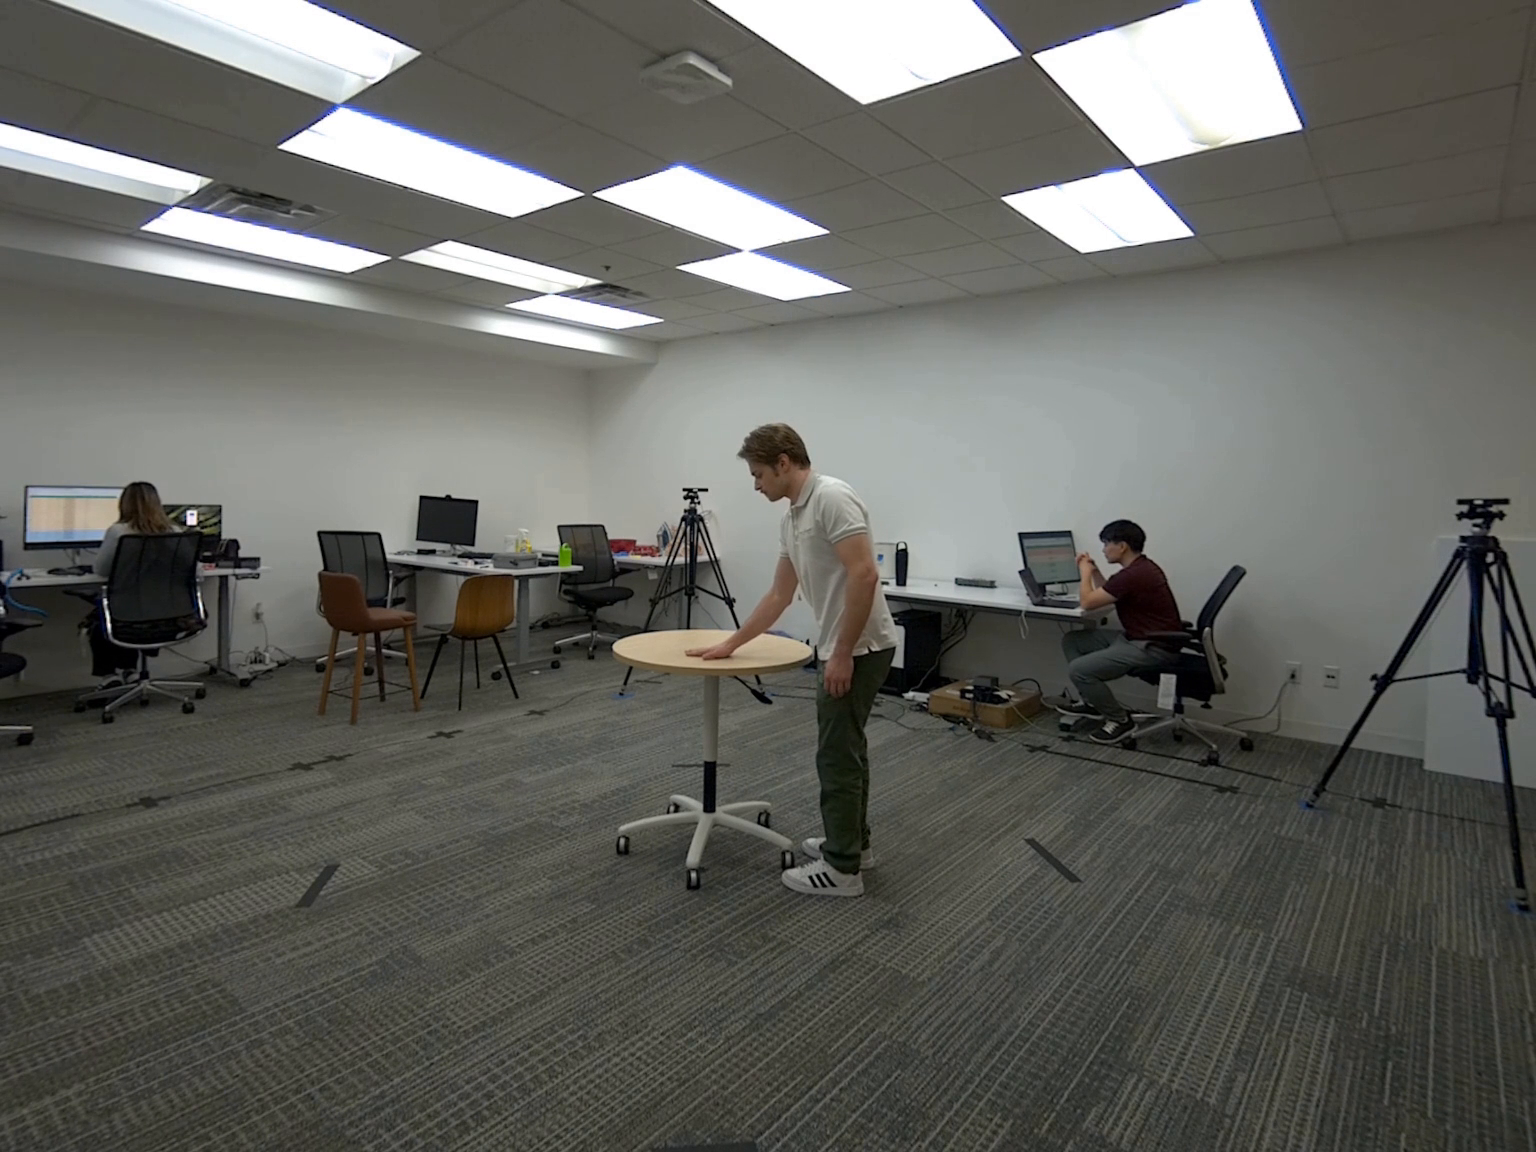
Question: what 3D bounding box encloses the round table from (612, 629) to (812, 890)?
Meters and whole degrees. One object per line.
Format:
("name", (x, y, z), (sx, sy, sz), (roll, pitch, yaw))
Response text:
("round table", (-0.240, 0.657, 3.304), (0.784, 0.784, 0.789), (1, 4, -2))
